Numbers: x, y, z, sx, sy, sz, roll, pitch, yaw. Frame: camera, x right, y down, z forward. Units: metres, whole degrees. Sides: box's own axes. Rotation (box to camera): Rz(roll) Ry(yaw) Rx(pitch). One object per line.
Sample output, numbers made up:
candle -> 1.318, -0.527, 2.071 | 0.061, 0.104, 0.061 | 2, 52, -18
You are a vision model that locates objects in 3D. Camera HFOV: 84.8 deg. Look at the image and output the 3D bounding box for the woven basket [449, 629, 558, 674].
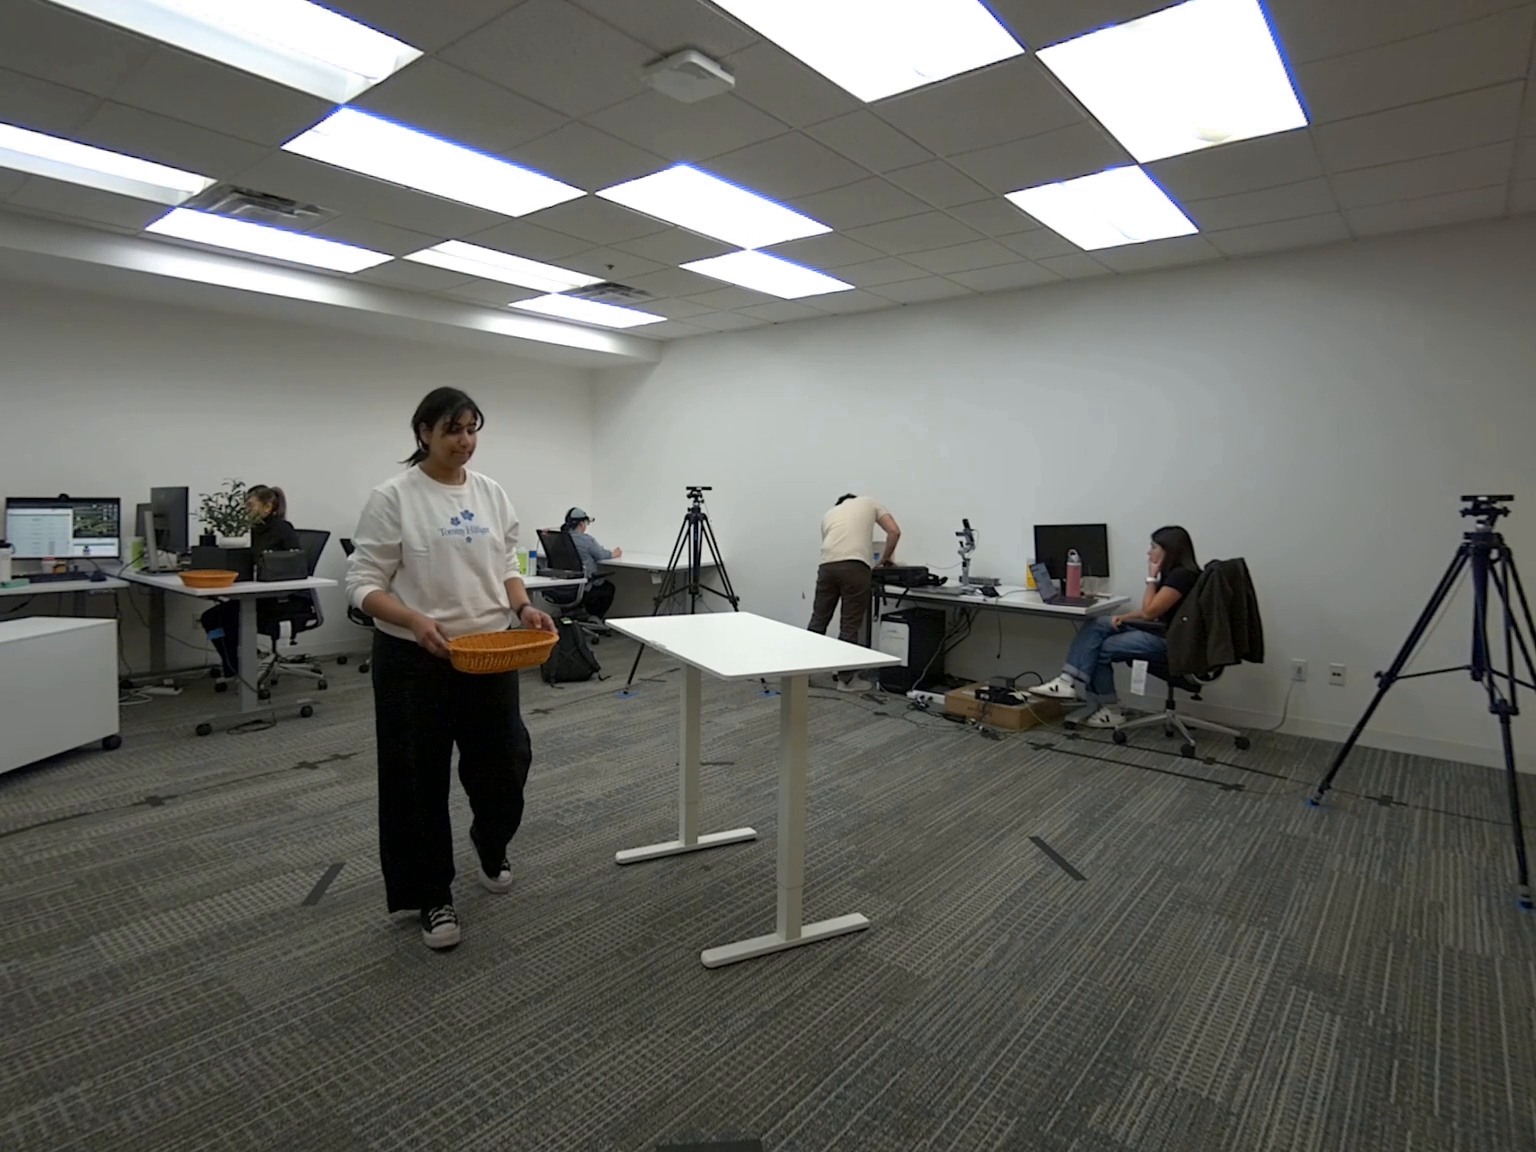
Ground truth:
woven basket -> -0.805, 0.216, 2.473 | 0.261, 0.073, 0.340 | 5, 8, 39
